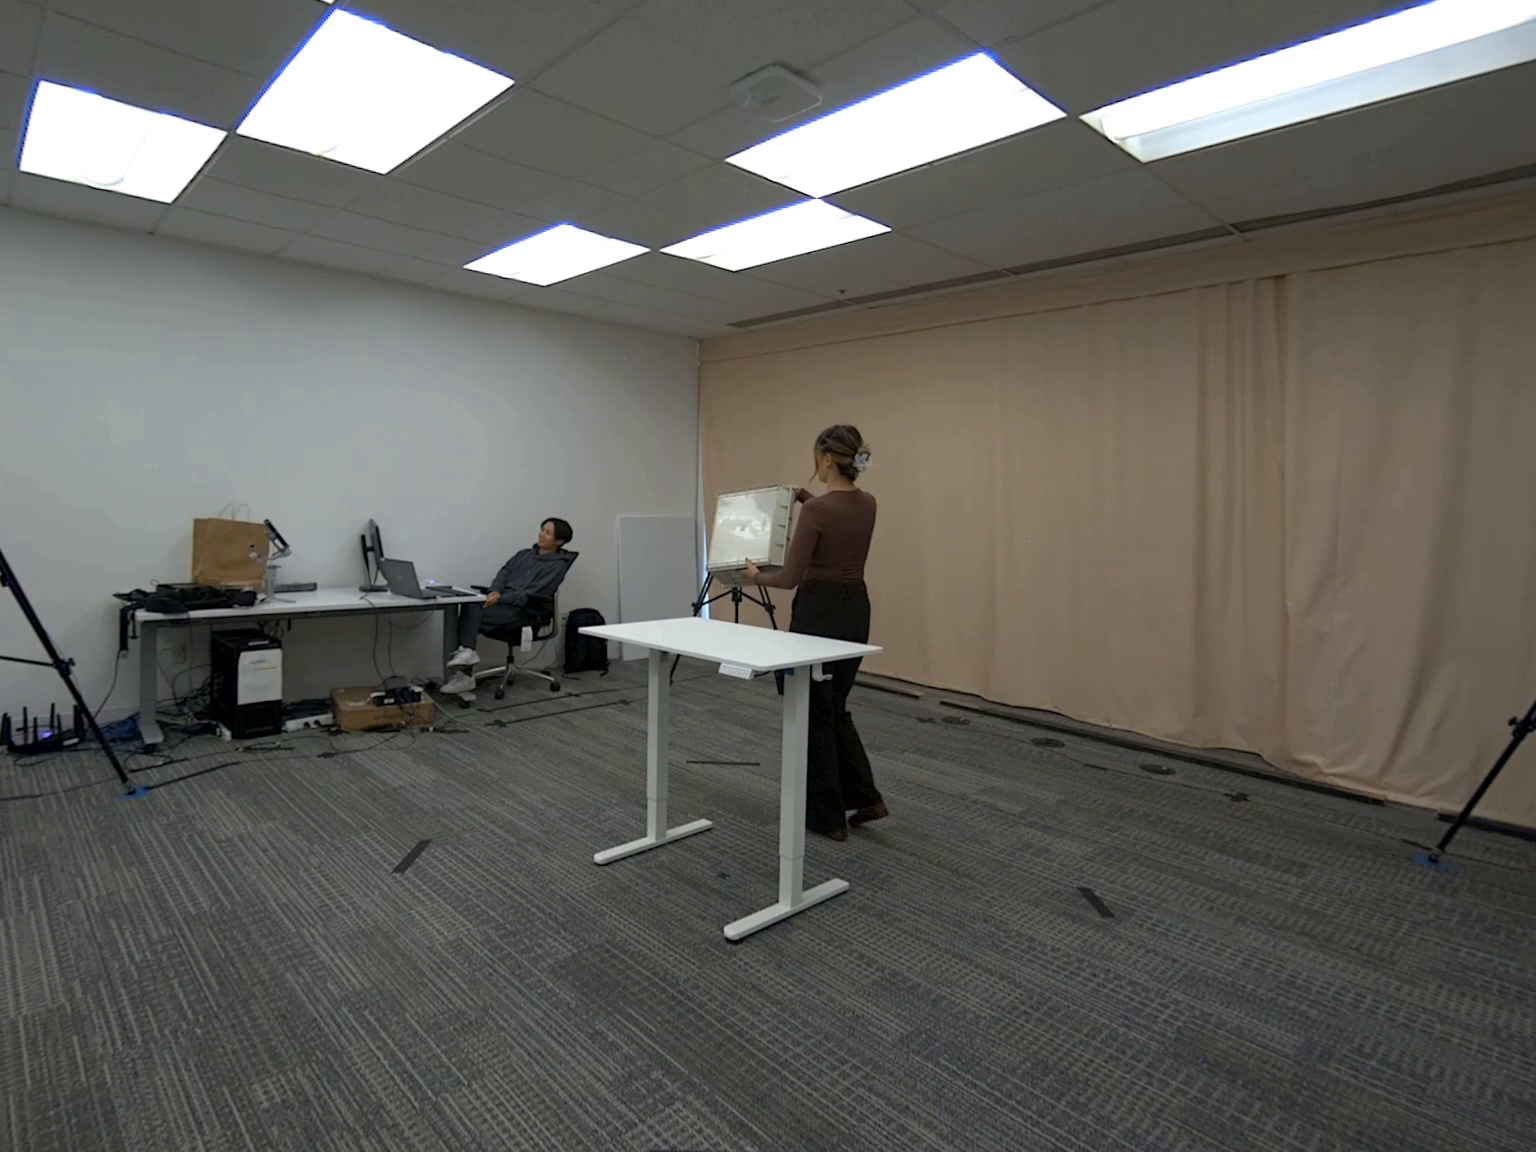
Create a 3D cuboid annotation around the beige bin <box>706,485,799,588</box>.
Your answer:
[{"bbox_3d":[-0.068,-0.176,3.816,0.383,0.429,0.183,-6,-29,24],"label":"beige bin"}]
